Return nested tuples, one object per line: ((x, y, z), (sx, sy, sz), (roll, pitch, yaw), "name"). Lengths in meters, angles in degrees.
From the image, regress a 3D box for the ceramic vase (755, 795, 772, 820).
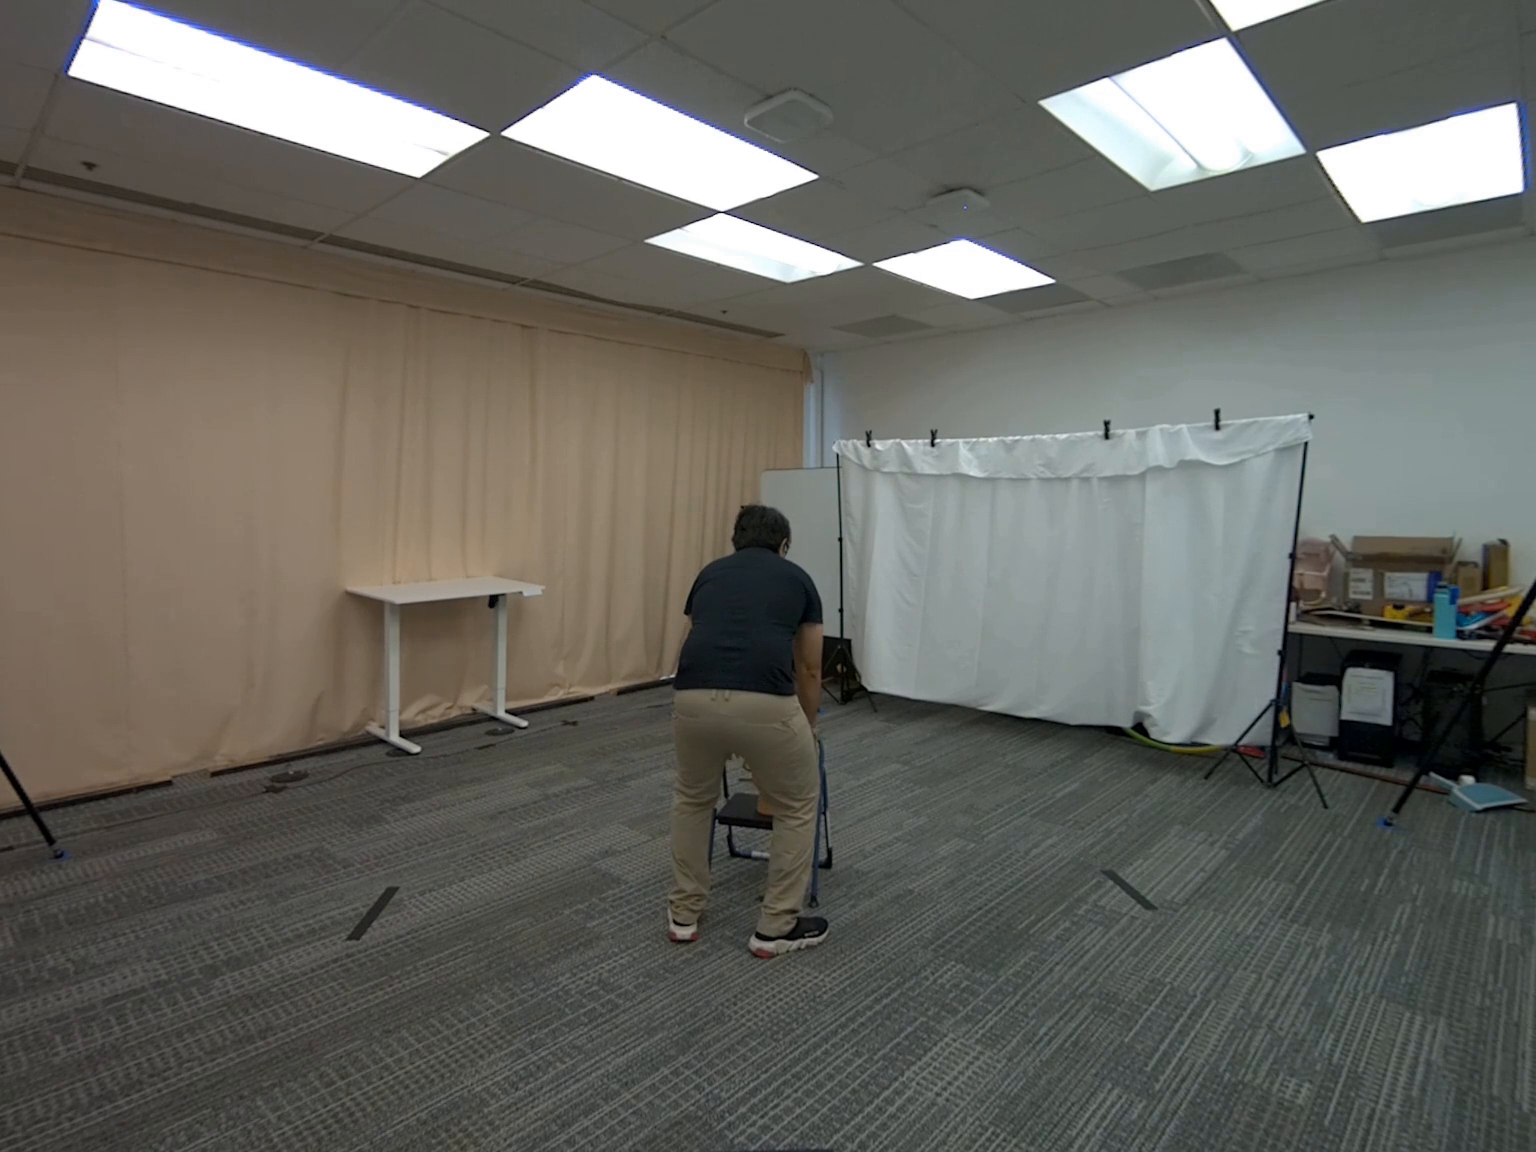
((0.004, 0.762, 3.109), (0.130, 0.219, 0.164), (-6, 7, -44), "ceramic vase")
